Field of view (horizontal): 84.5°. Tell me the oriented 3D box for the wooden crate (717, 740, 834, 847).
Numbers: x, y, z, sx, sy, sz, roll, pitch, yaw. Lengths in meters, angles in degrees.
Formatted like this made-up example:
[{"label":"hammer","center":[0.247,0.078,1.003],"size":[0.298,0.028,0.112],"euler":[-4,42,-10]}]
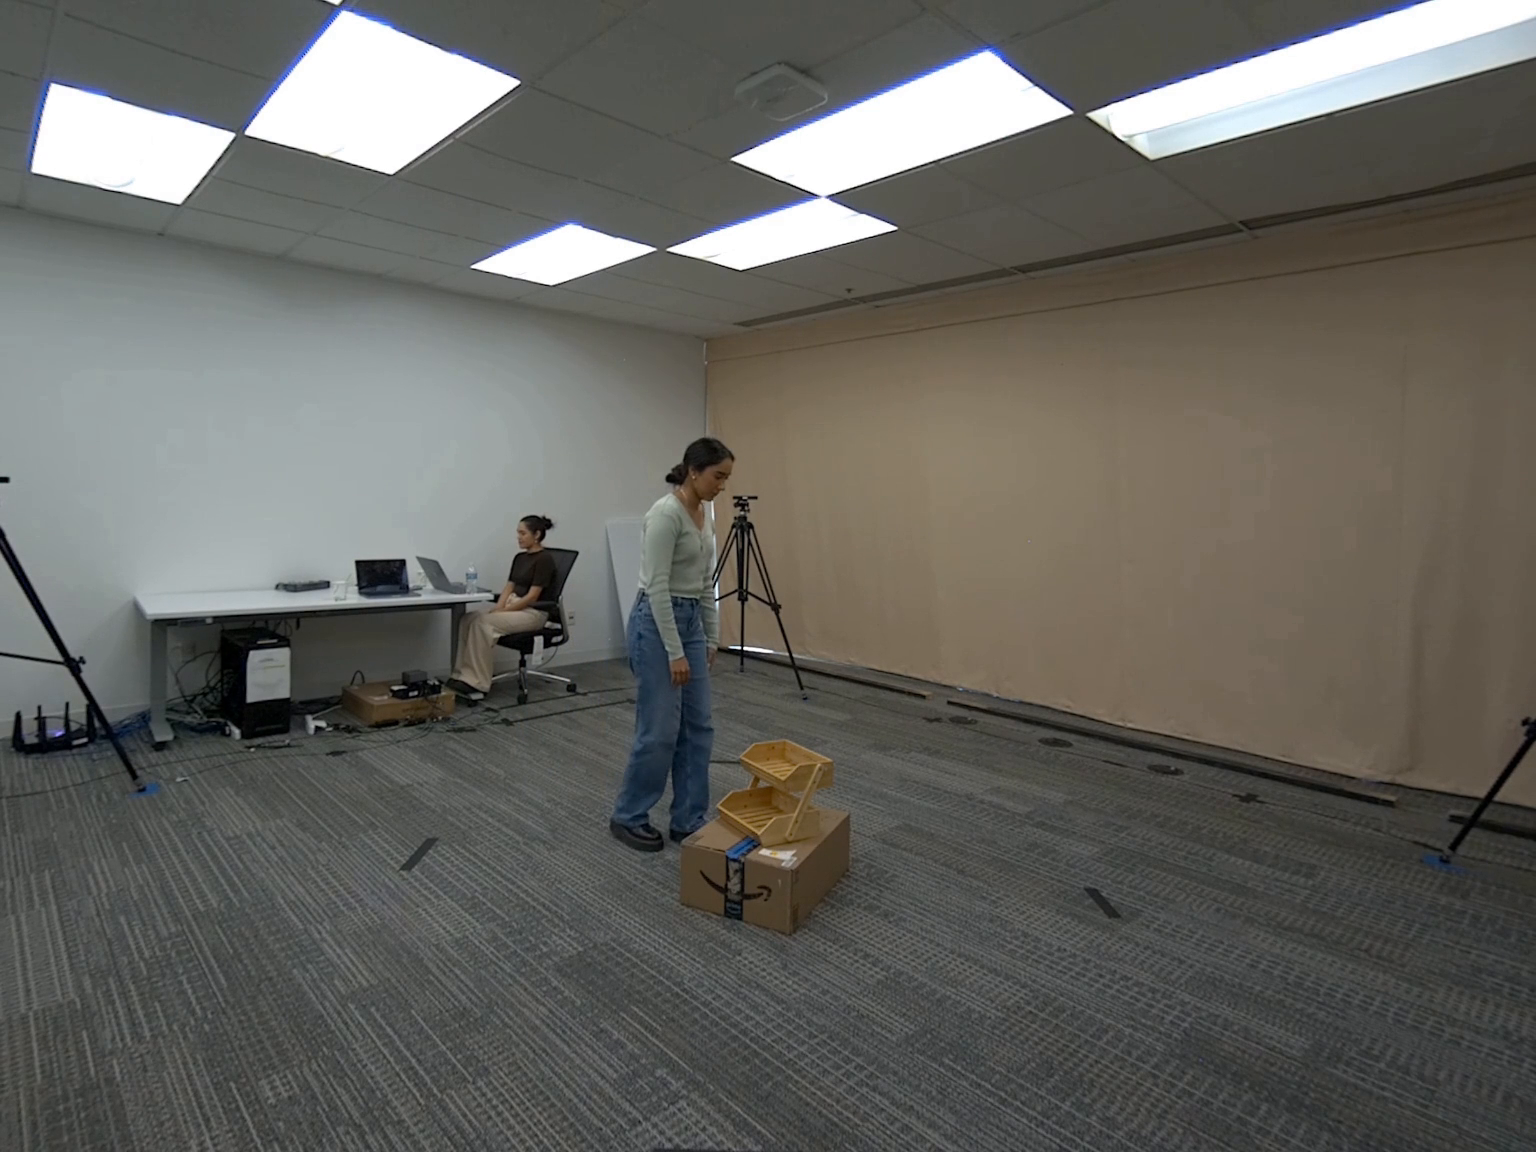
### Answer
[{"label":"wooden crate","center":[0.012,0.768,3.024],"size":[0.295,0.273,0.332],"euler":[0,4,-32]}]
